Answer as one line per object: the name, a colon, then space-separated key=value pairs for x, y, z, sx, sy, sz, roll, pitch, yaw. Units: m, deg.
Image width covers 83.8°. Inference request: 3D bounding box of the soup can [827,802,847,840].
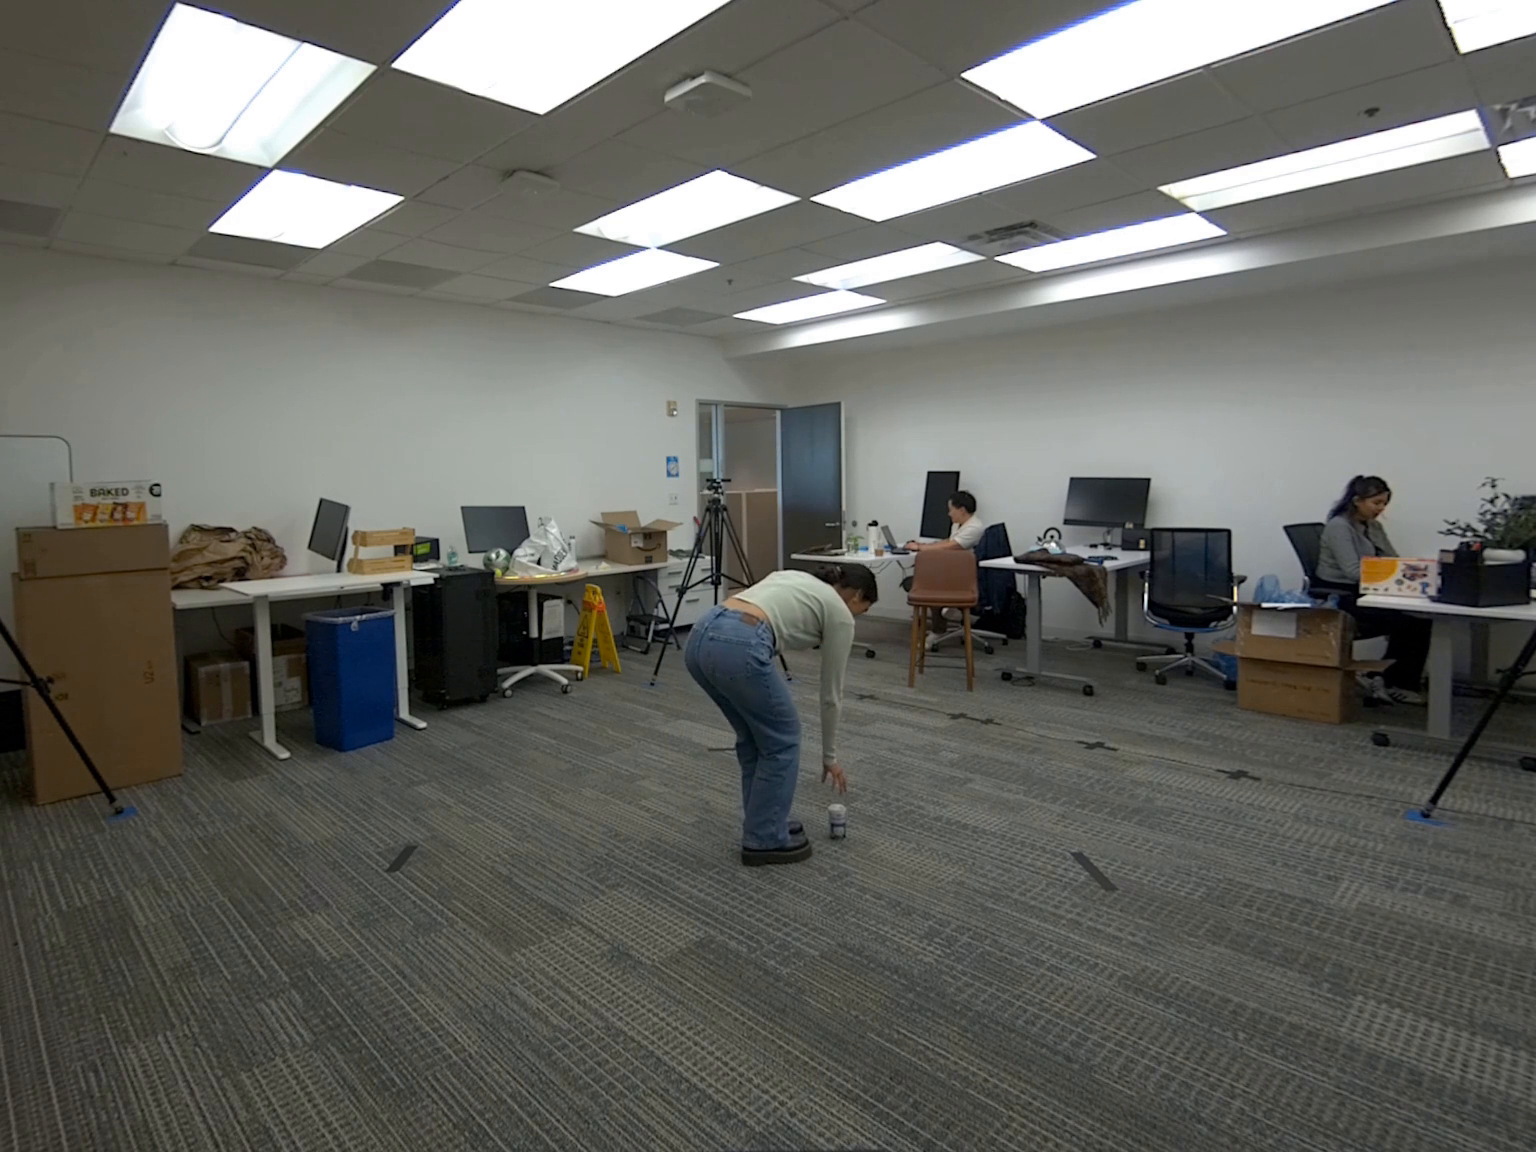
soup can: x=0.265 y=0.955 z=3.316 sx=0.067 sy=0.121 sz=0.067 roll=-2 pitch=4 yaw=-2
